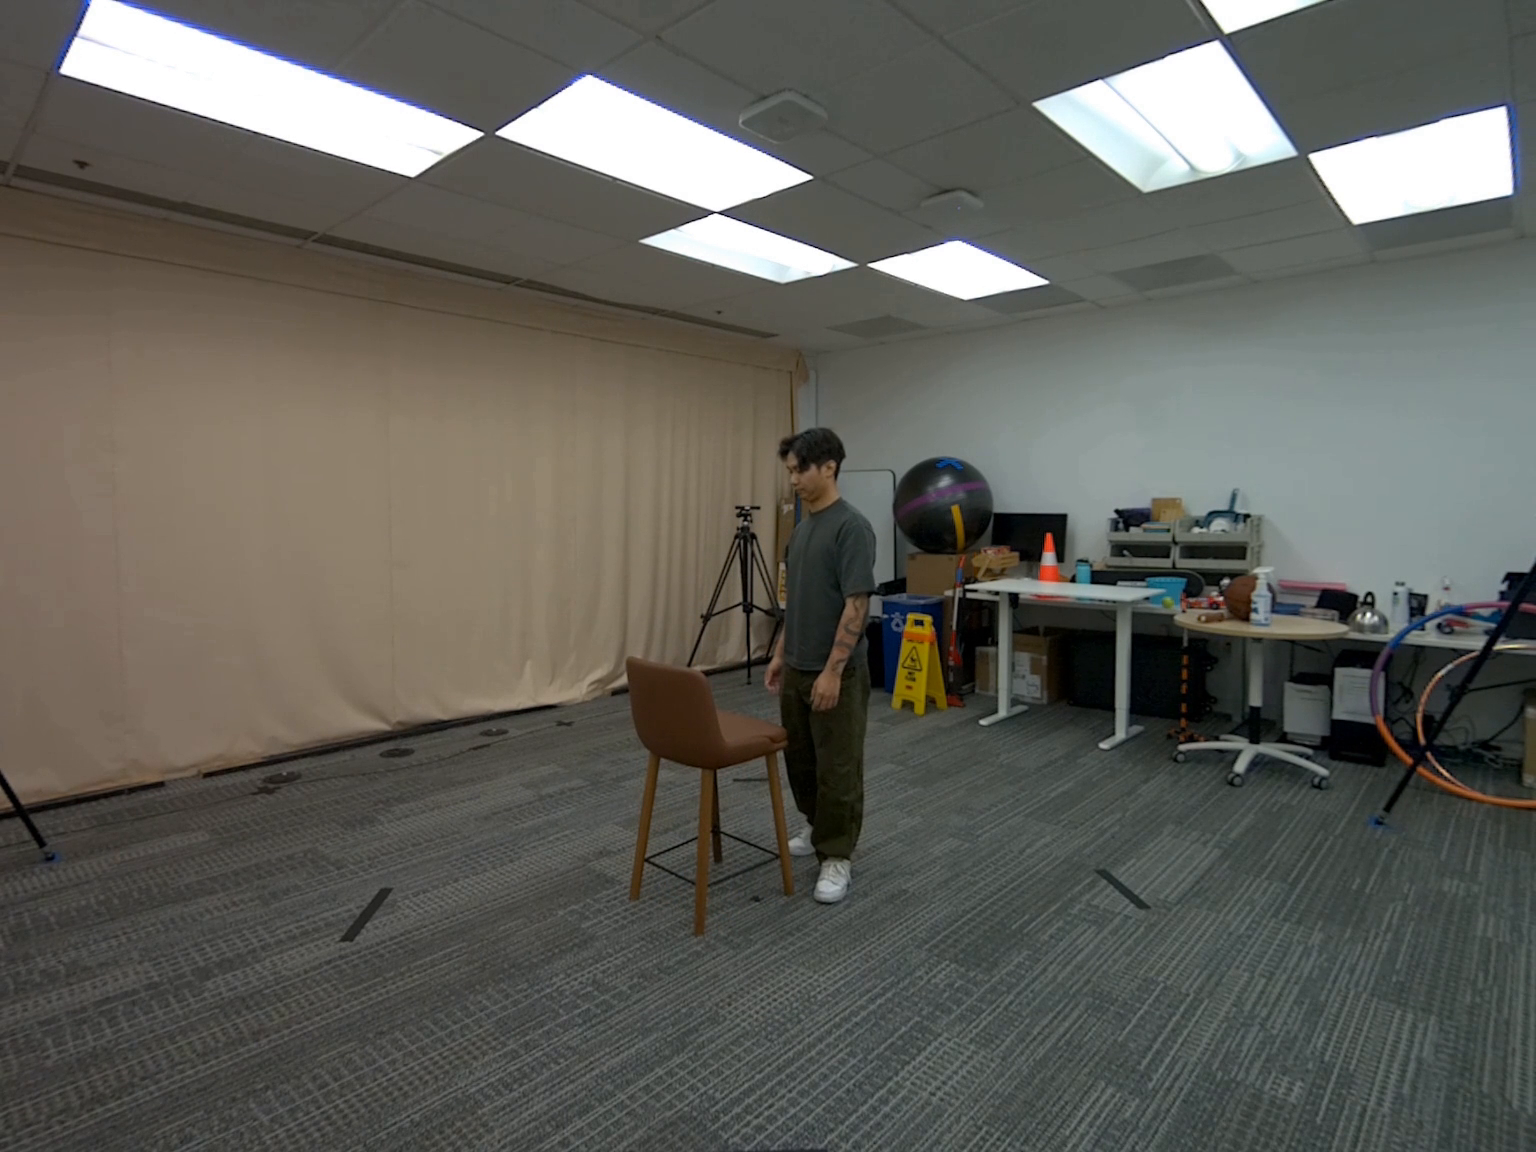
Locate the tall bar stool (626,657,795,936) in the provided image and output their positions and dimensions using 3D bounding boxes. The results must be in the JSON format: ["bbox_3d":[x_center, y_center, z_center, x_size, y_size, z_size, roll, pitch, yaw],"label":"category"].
[{"bbox_3d":[-0.210,0.711,2.978,0.472,0.887,0.454,3,6,45],"label":"tall bar stool"}]
